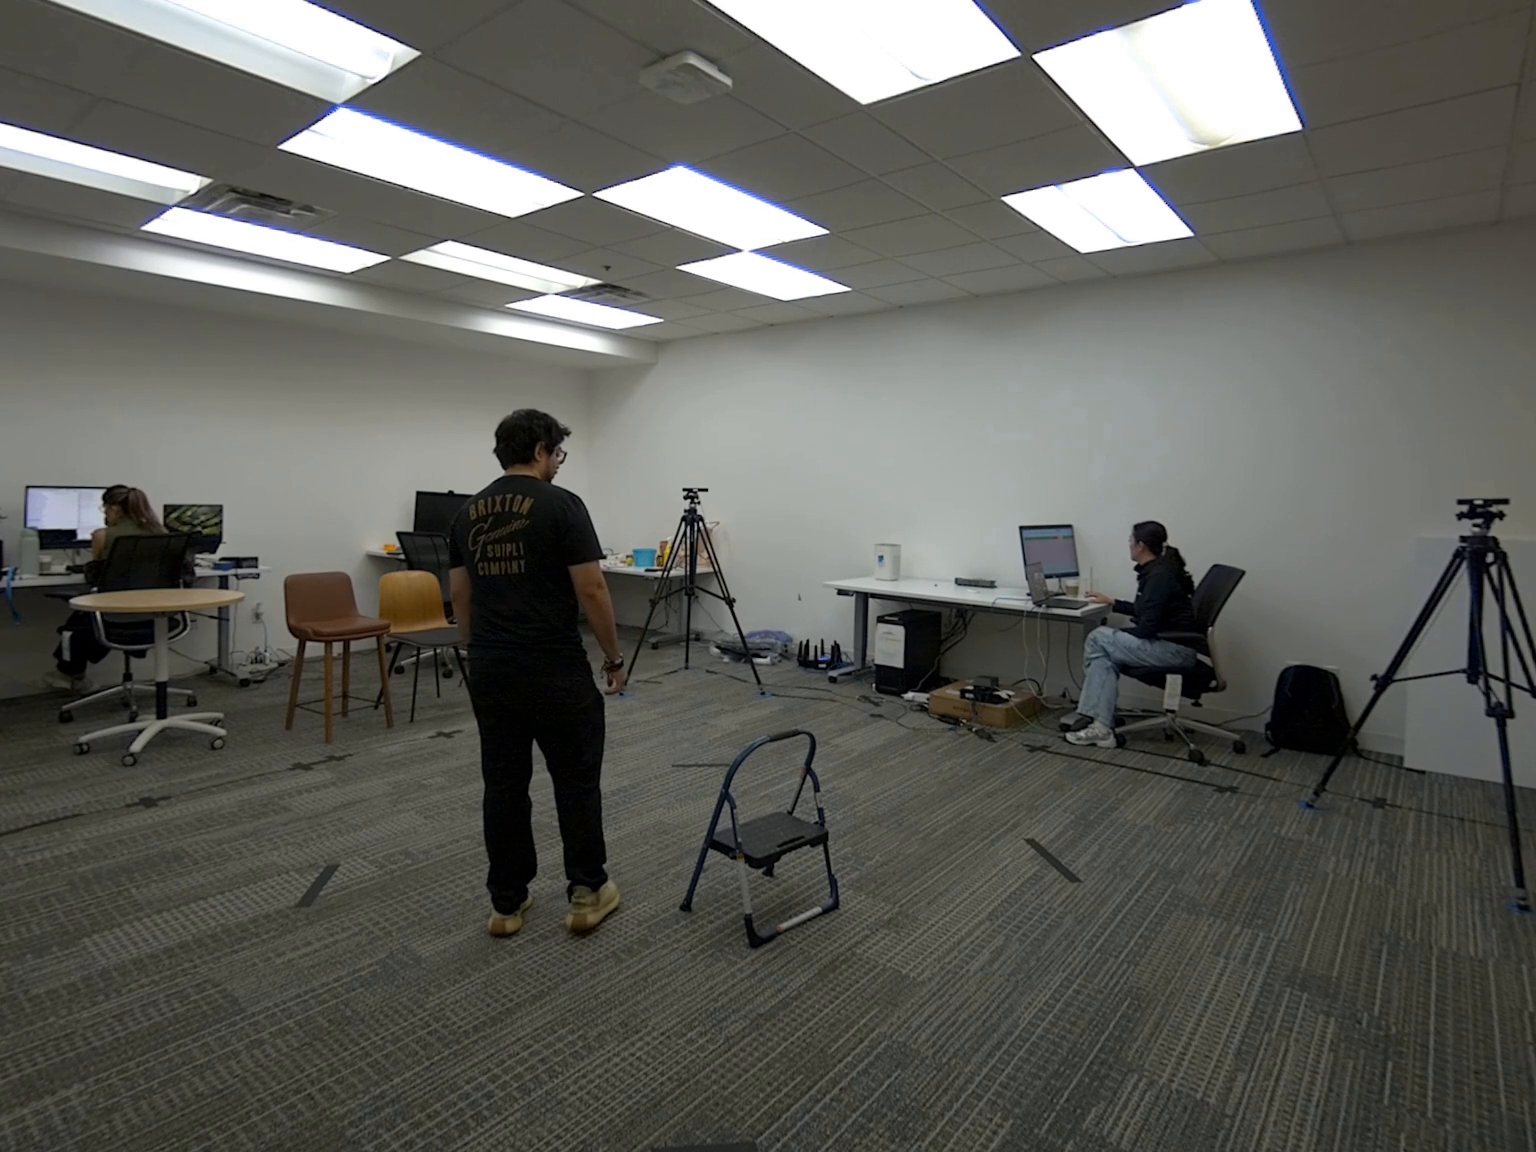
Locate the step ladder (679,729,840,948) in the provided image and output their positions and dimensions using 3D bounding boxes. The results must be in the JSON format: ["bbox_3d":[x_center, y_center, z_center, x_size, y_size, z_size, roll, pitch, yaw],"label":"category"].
[{"bbox_3d":[-0.023,0.801,2.814,0.417,0.604,0.361,-2,4,-45],"label":"step ladder"}]
